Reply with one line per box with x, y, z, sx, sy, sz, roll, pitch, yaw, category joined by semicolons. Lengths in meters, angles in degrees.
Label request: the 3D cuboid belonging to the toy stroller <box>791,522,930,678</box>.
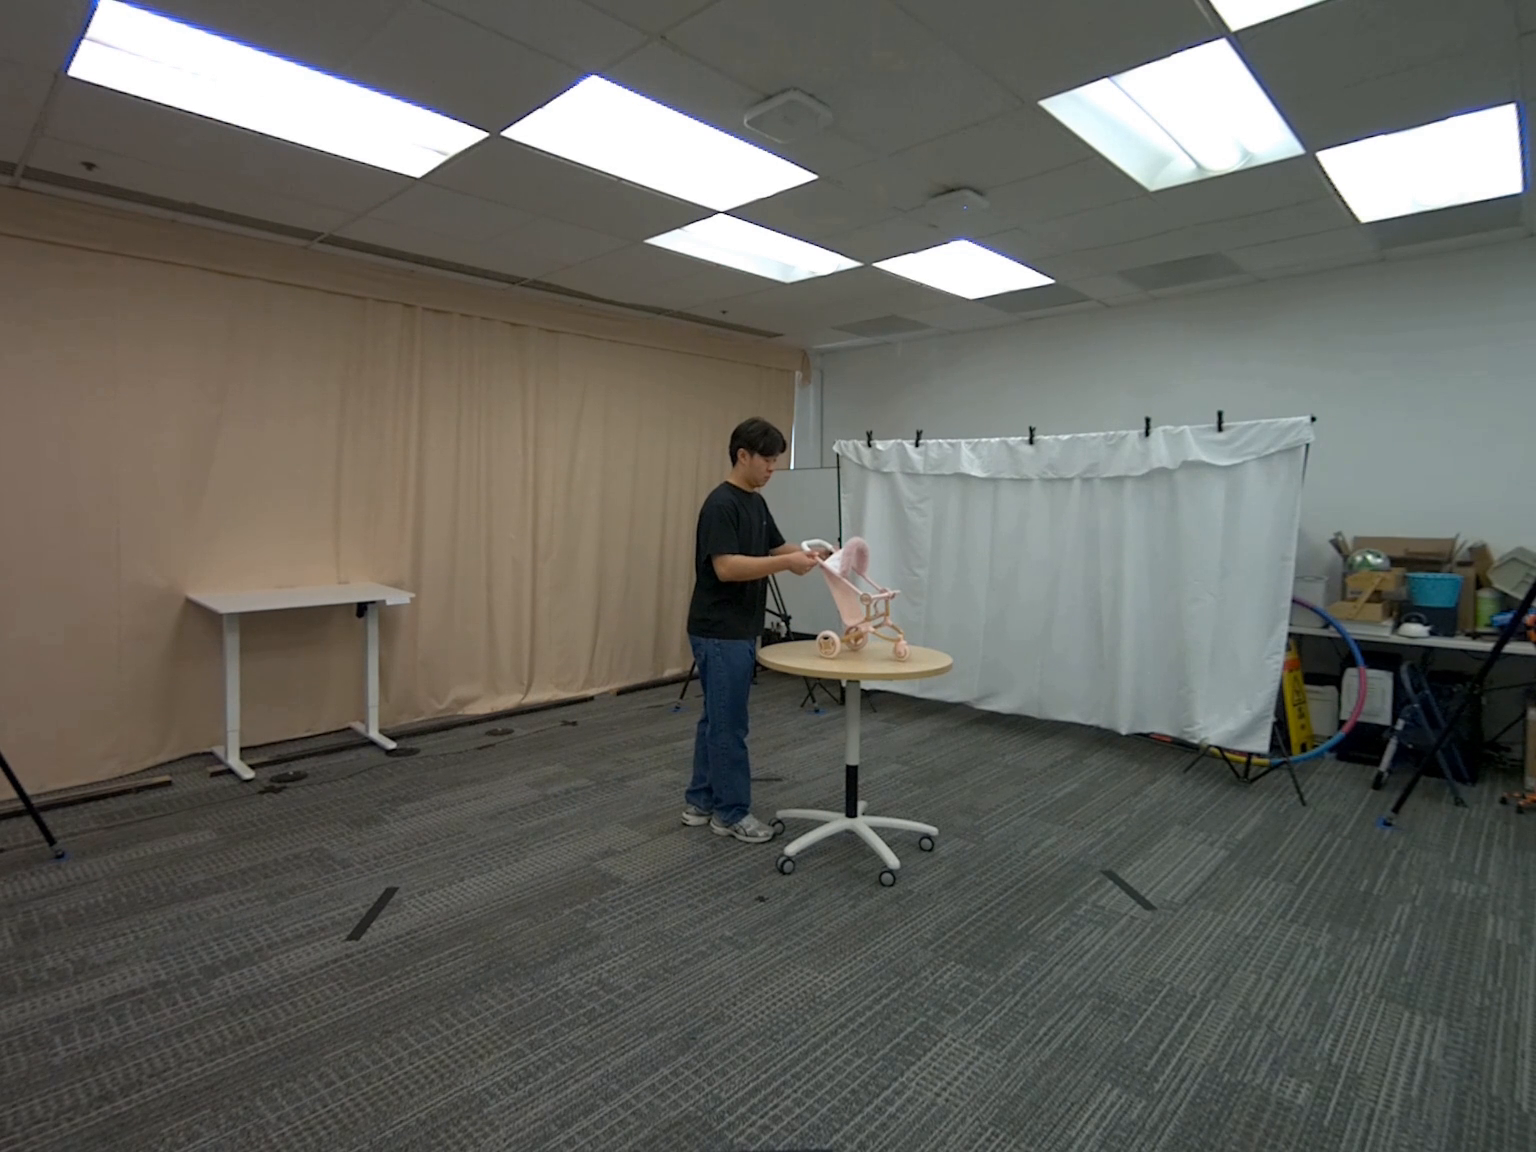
0.358;0.090;3.312;0.350;0.537;0.273;-13;-5;36;toy stroller
